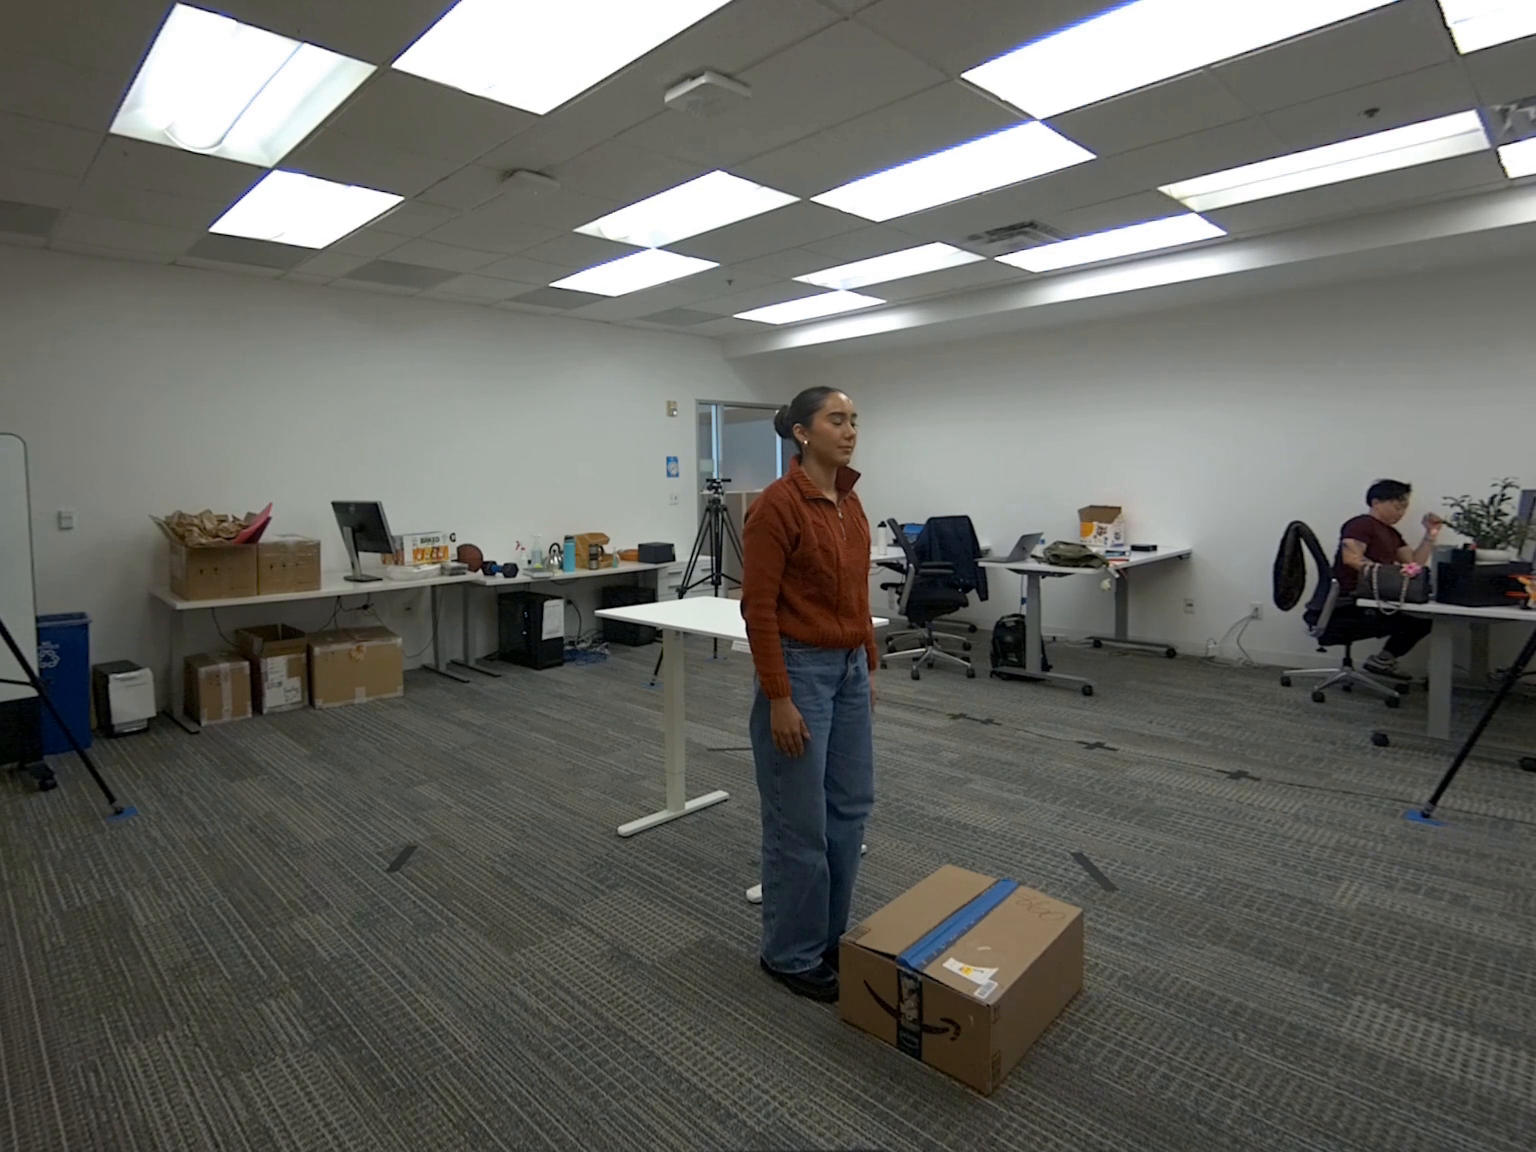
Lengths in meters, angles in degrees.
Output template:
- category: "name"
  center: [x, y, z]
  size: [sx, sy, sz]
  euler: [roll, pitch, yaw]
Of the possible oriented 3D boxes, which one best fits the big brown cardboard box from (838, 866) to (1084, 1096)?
- category: "big brown cardboard box"
  center: [0.521, 1.020, 2.252]
  size: [0.430, 0.232, 0.573]
  euler: [4, 7, 41]
